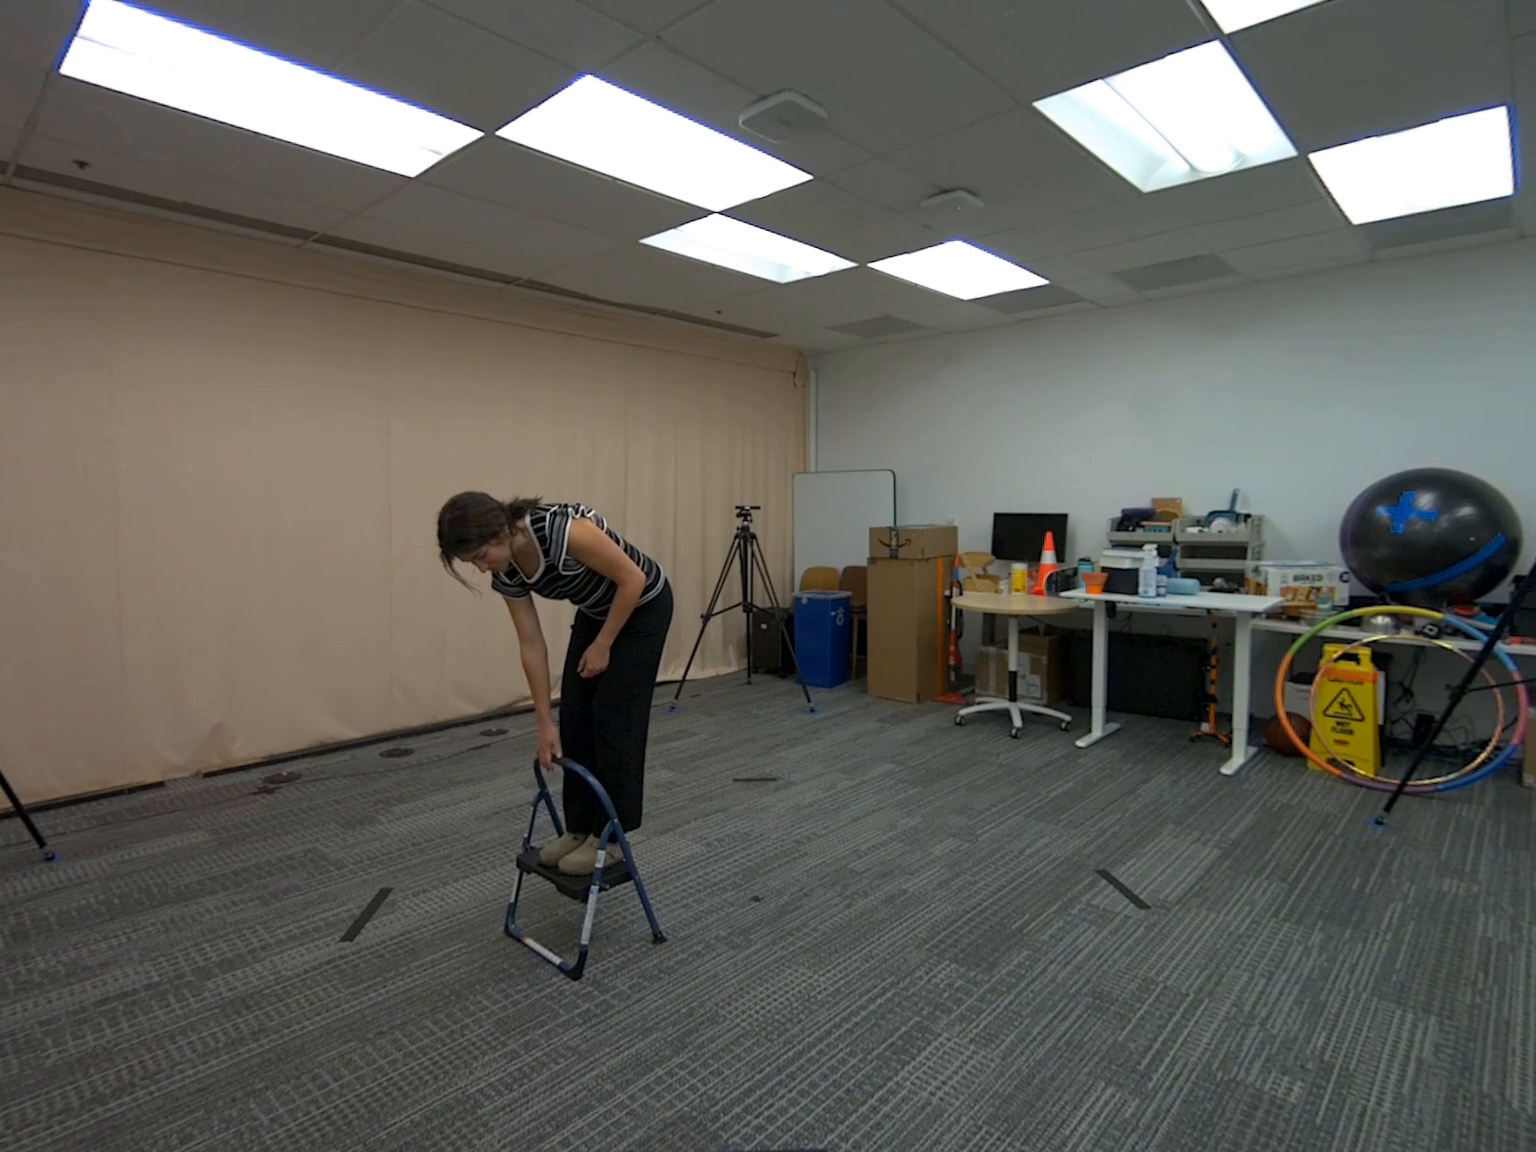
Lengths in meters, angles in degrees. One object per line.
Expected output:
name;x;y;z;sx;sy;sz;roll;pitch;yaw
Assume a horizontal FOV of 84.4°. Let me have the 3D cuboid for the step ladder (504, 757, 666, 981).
step ladder;-0.603;0.870;2.715;0.445;0.605;0.338;3;4;43
